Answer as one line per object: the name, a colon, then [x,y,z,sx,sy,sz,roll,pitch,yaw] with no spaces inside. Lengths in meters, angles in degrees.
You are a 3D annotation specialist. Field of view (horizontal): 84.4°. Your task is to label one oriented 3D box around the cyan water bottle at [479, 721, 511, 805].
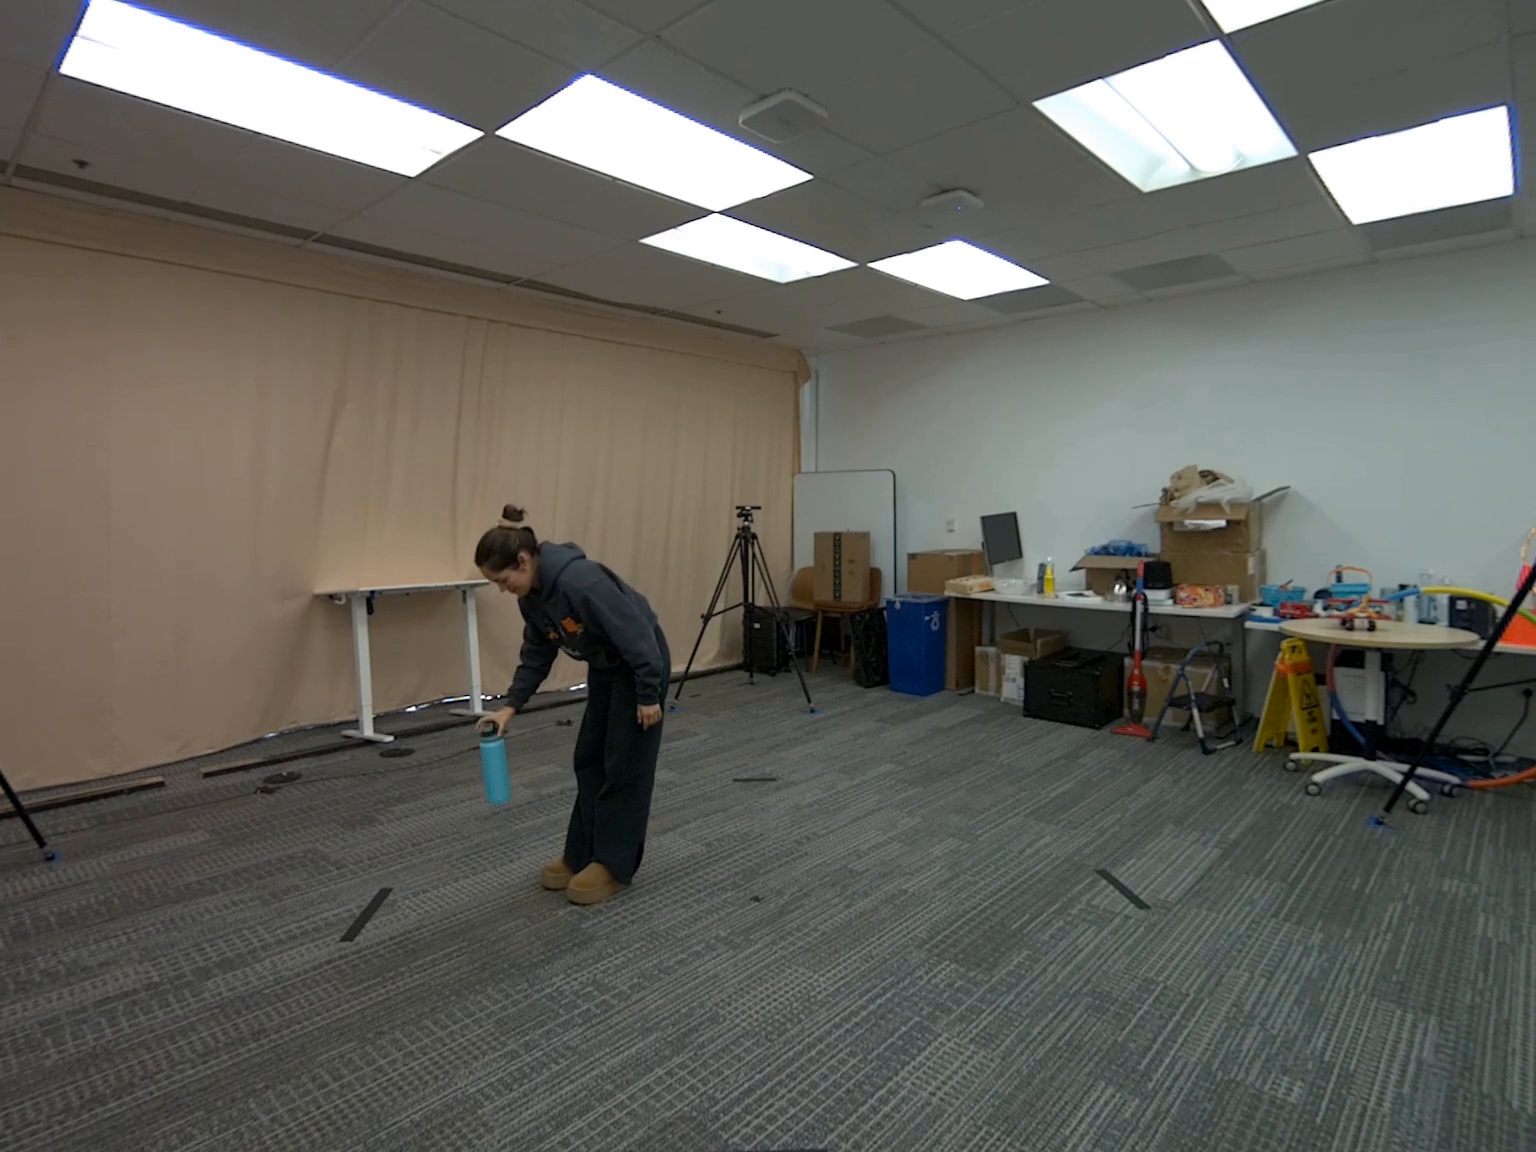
cyan water bottle: [-0.981,0.687,3.084,0.092,0.282,0.093,-6,6,-1]
